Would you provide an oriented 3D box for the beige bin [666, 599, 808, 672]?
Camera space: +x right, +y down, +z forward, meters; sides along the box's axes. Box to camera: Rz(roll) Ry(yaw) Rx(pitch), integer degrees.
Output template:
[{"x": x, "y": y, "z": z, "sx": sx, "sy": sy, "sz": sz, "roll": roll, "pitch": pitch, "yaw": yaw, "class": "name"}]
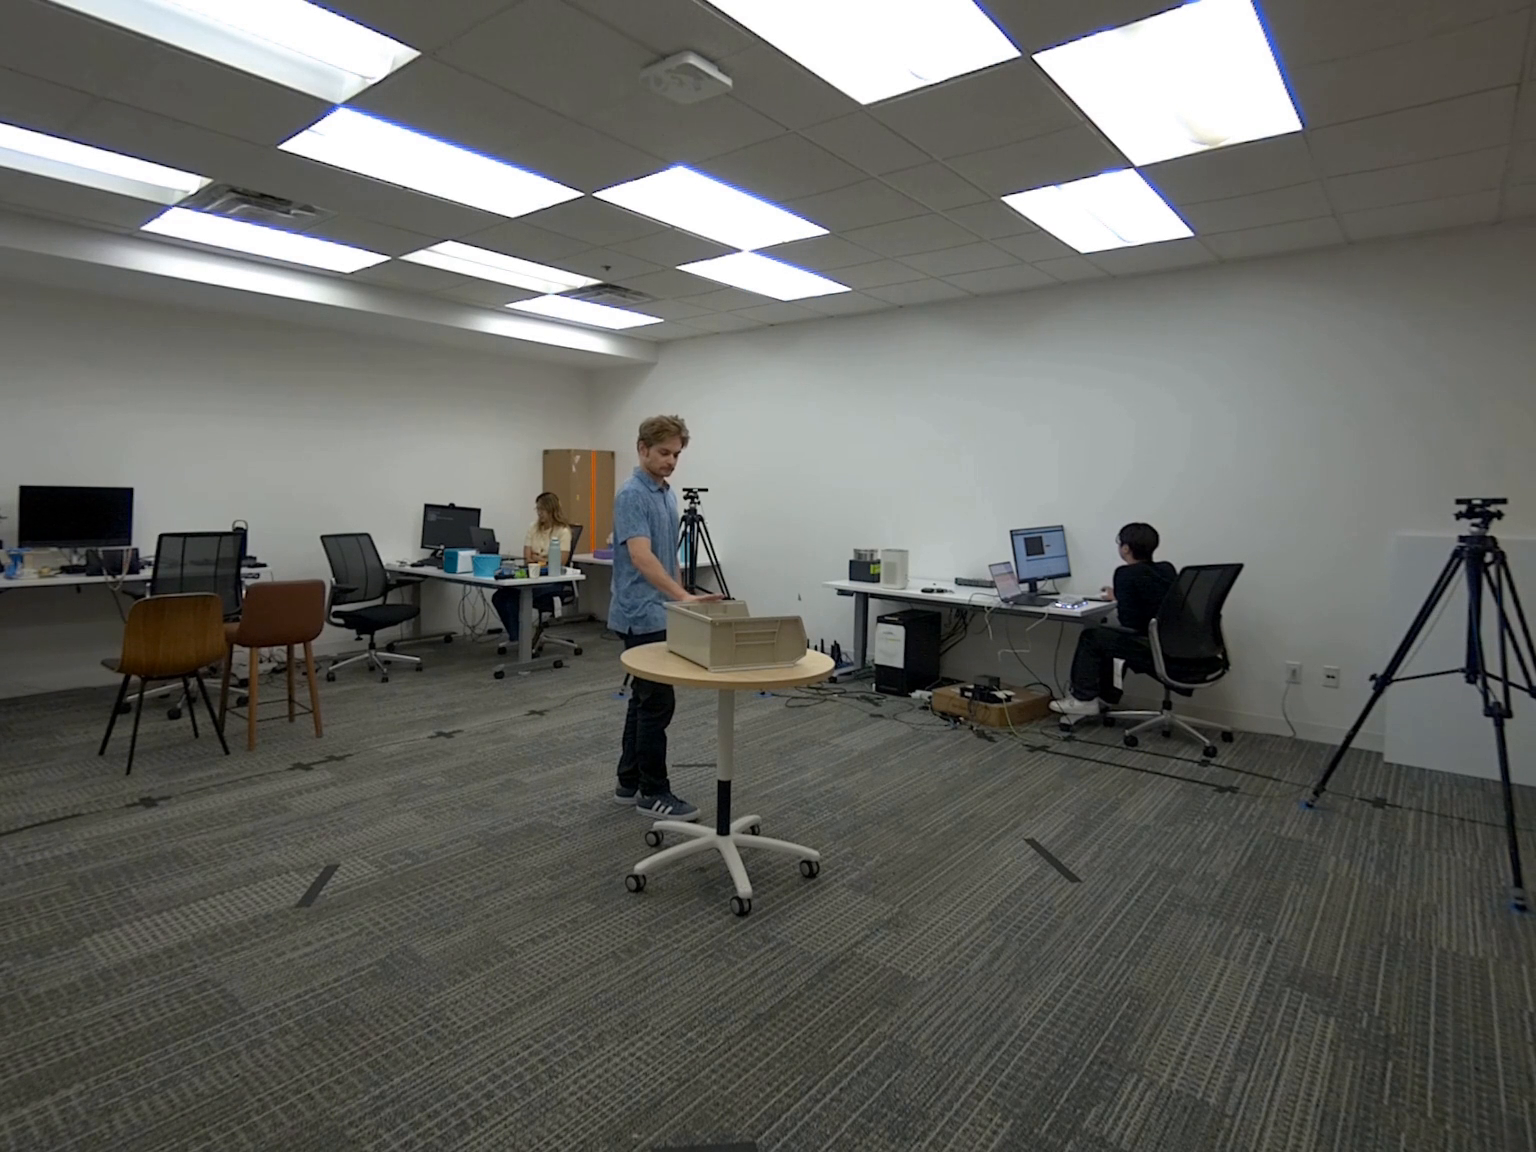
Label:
[{"x": -0.132, "y": 0.203, "z": 3.044, "sx": 0.368, "sy": 0.188, "sz": 0.435, "roll": -3, "pitch": 7, "yaw": -27, "class": "beige bin"}]
